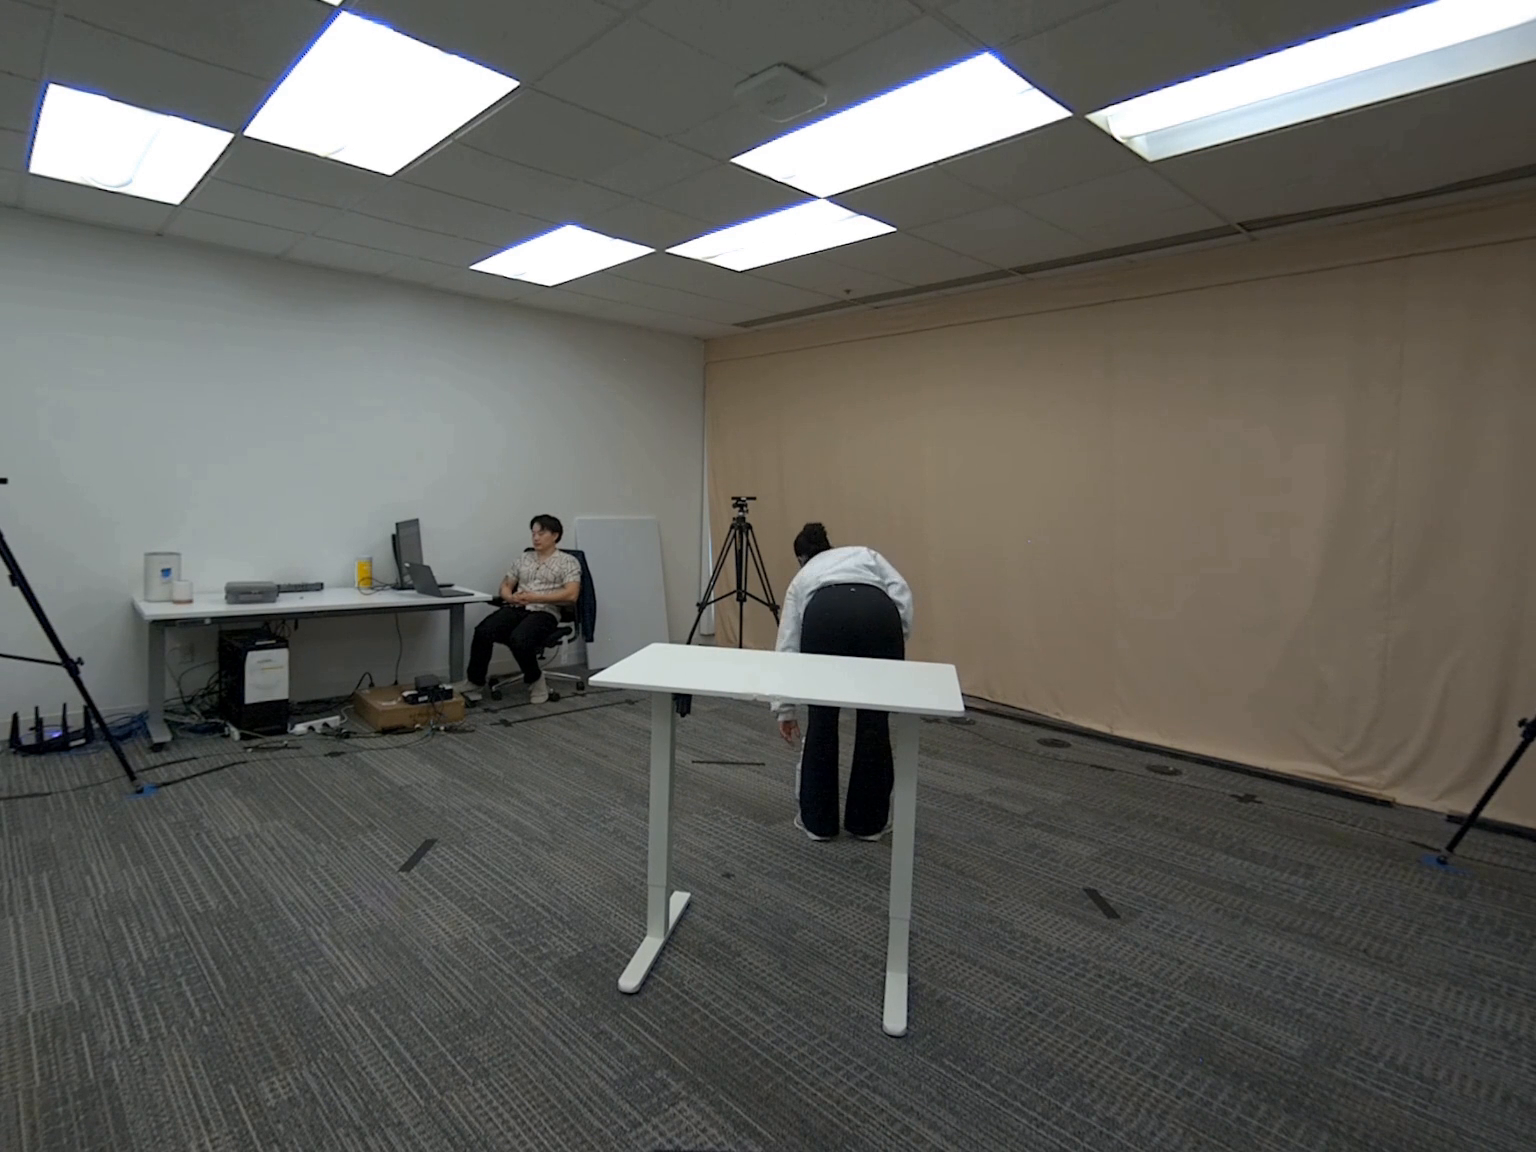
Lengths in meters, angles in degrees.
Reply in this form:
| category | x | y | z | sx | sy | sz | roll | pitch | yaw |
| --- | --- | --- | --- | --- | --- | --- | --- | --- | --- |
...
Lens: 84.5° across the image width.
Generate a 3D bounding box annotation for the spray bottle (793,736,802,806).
| category | x | y | z | sx | sy | sz | roll | pitch | yaw |
| --- | --- | --- | --- | --- | --- | --- | --- | --- | --- |
| spray bottle | 0.170 | 0.904 | 3.918 | 0.087 | 0.296 | 0.090 | 3 | 5 | 6 |
